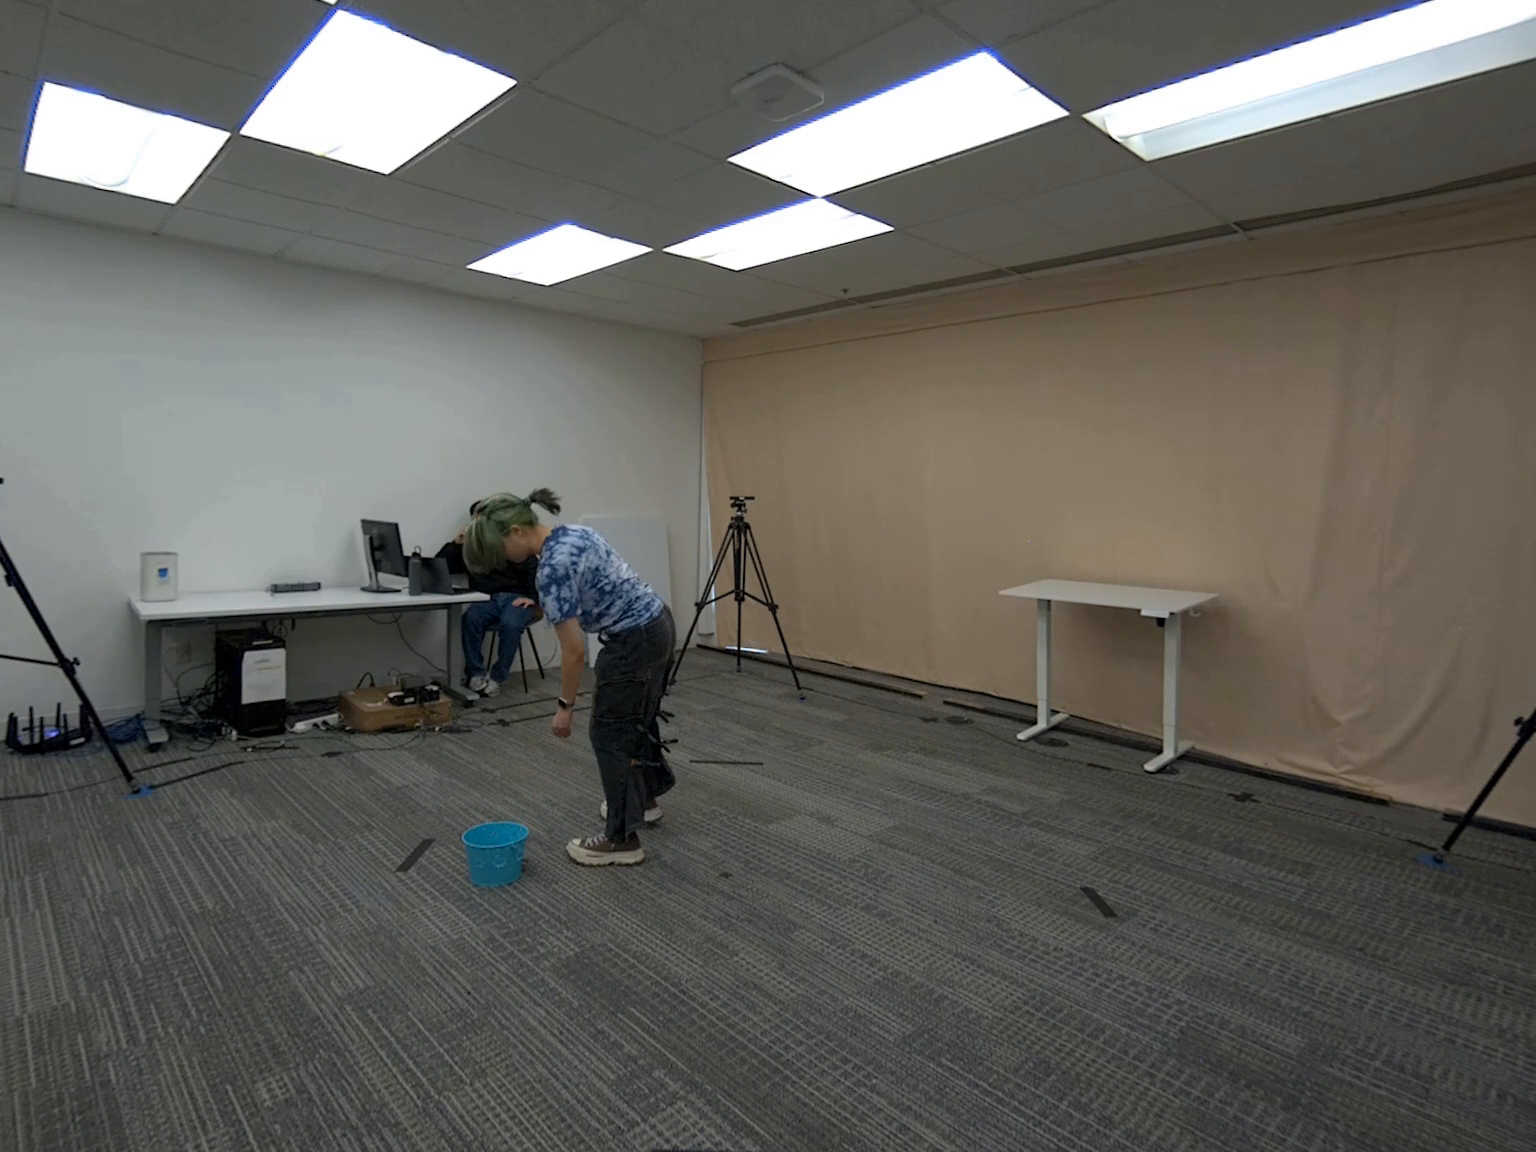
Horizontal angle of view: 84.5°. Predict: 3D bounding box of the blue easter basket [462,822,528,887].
[{"bbox_3d":[-0.991,1.011,3.055,0.243,0.155,0.244,2,6,-2],"label":"blue easter basket"}]
